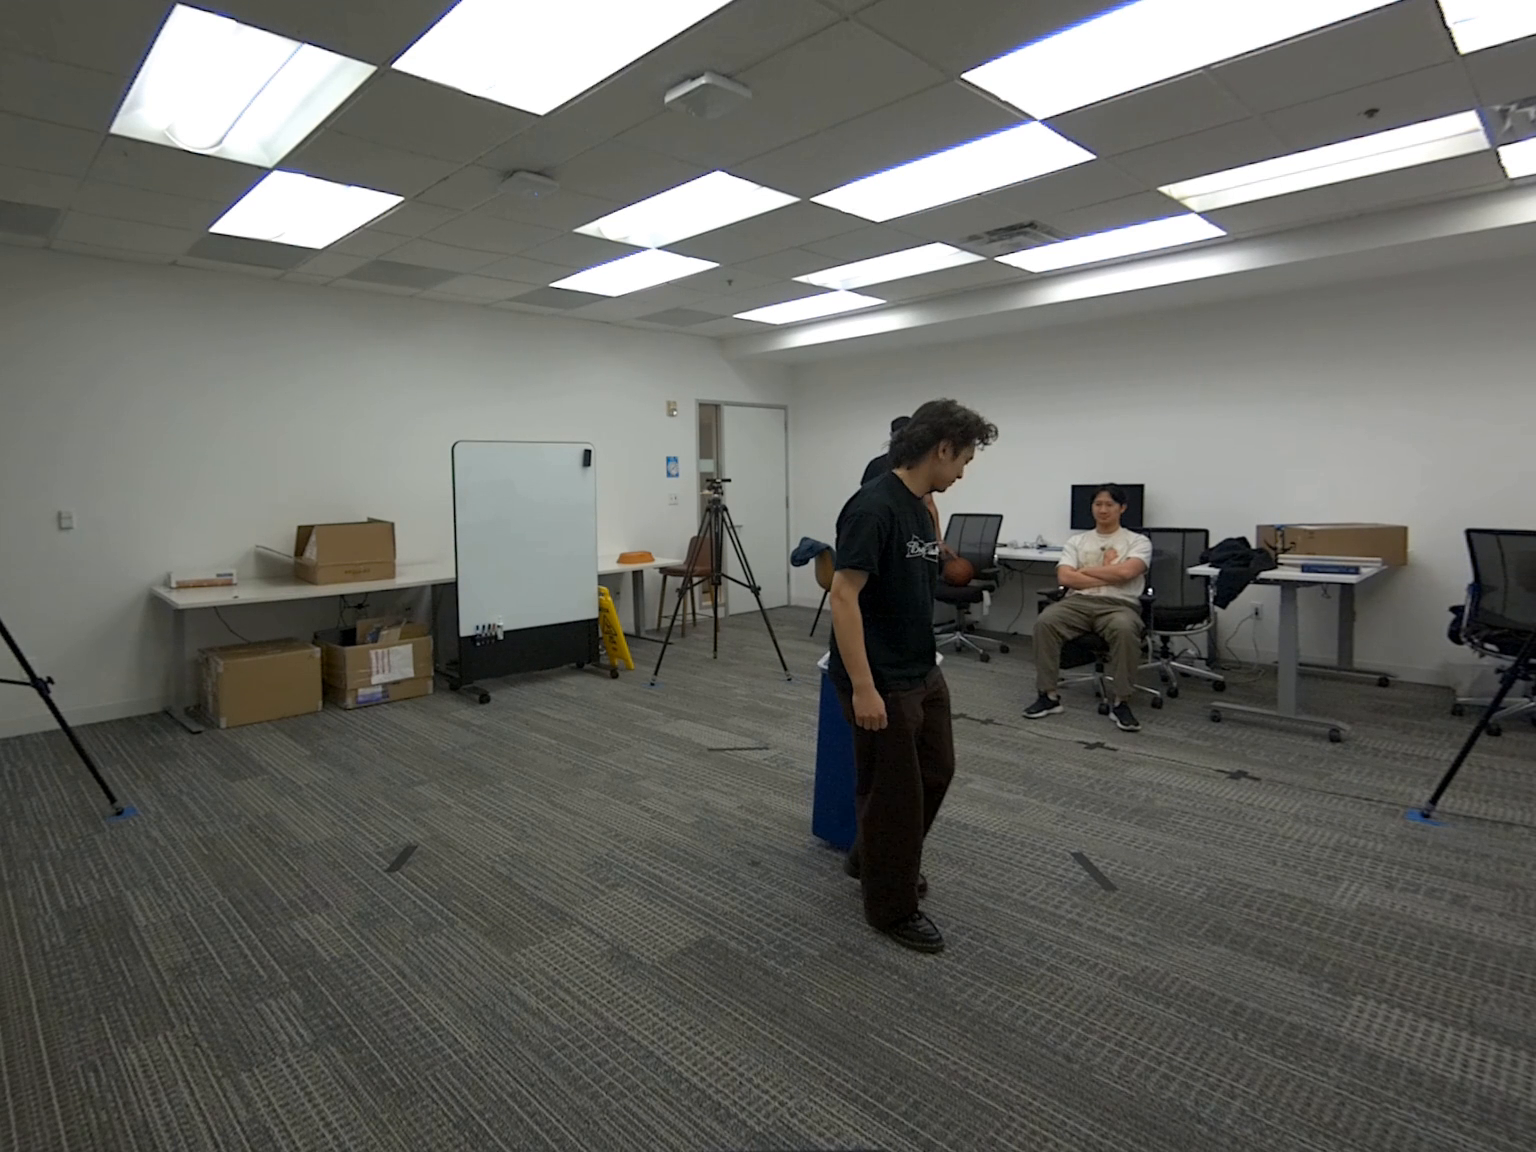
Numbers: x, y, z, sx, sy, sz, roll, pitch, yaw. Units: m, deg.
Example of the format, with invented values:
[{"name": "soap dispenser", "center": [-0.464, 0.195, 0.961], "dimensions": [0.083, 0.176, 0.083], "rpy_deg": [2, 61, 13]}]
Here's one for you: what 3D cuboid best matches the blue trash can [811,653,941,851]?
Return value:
[{"name": "blue trash can", "center": [0.396, 0.642, 3.171], "dimensions": [0.388, 0.704, 0.369], "rpy_deg": [12, 18, 26]}]
